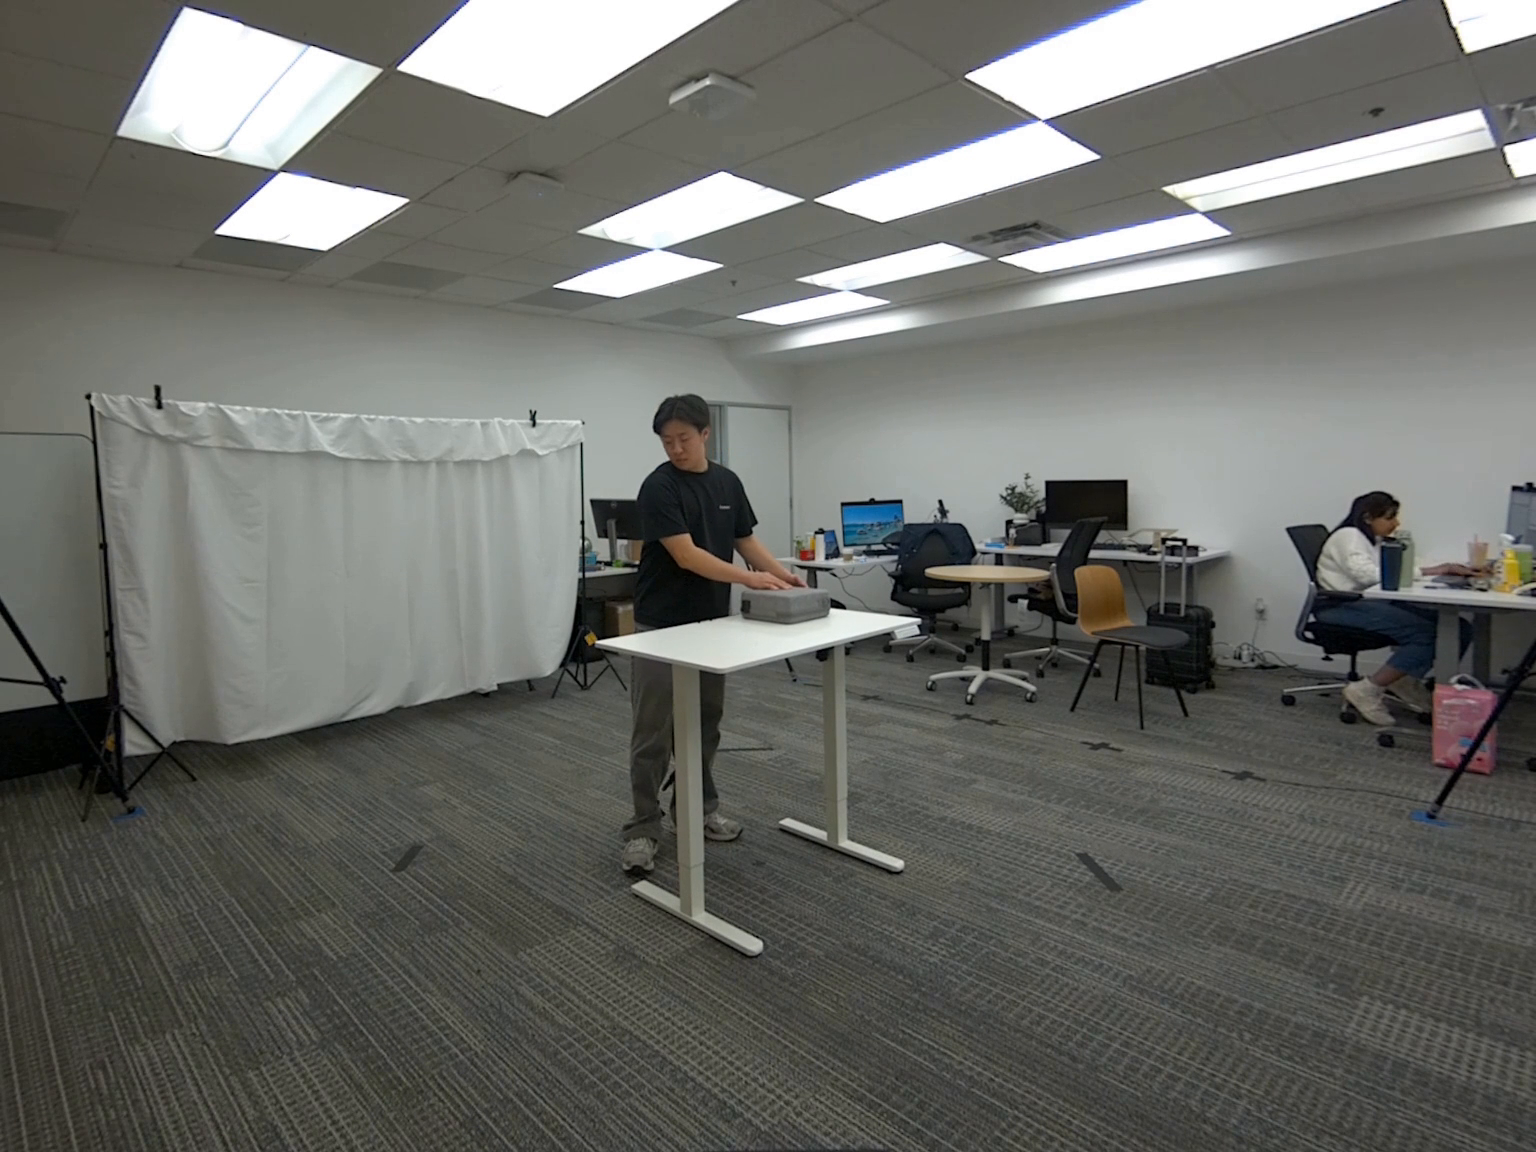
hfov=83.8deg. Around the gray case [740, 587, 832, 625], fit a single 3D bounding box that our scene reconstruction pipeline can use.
[{"bbox_3d":[0.071,0.105,3.153,0.264,0.104,0.254,1,6,42],"label":"gray case"}]
